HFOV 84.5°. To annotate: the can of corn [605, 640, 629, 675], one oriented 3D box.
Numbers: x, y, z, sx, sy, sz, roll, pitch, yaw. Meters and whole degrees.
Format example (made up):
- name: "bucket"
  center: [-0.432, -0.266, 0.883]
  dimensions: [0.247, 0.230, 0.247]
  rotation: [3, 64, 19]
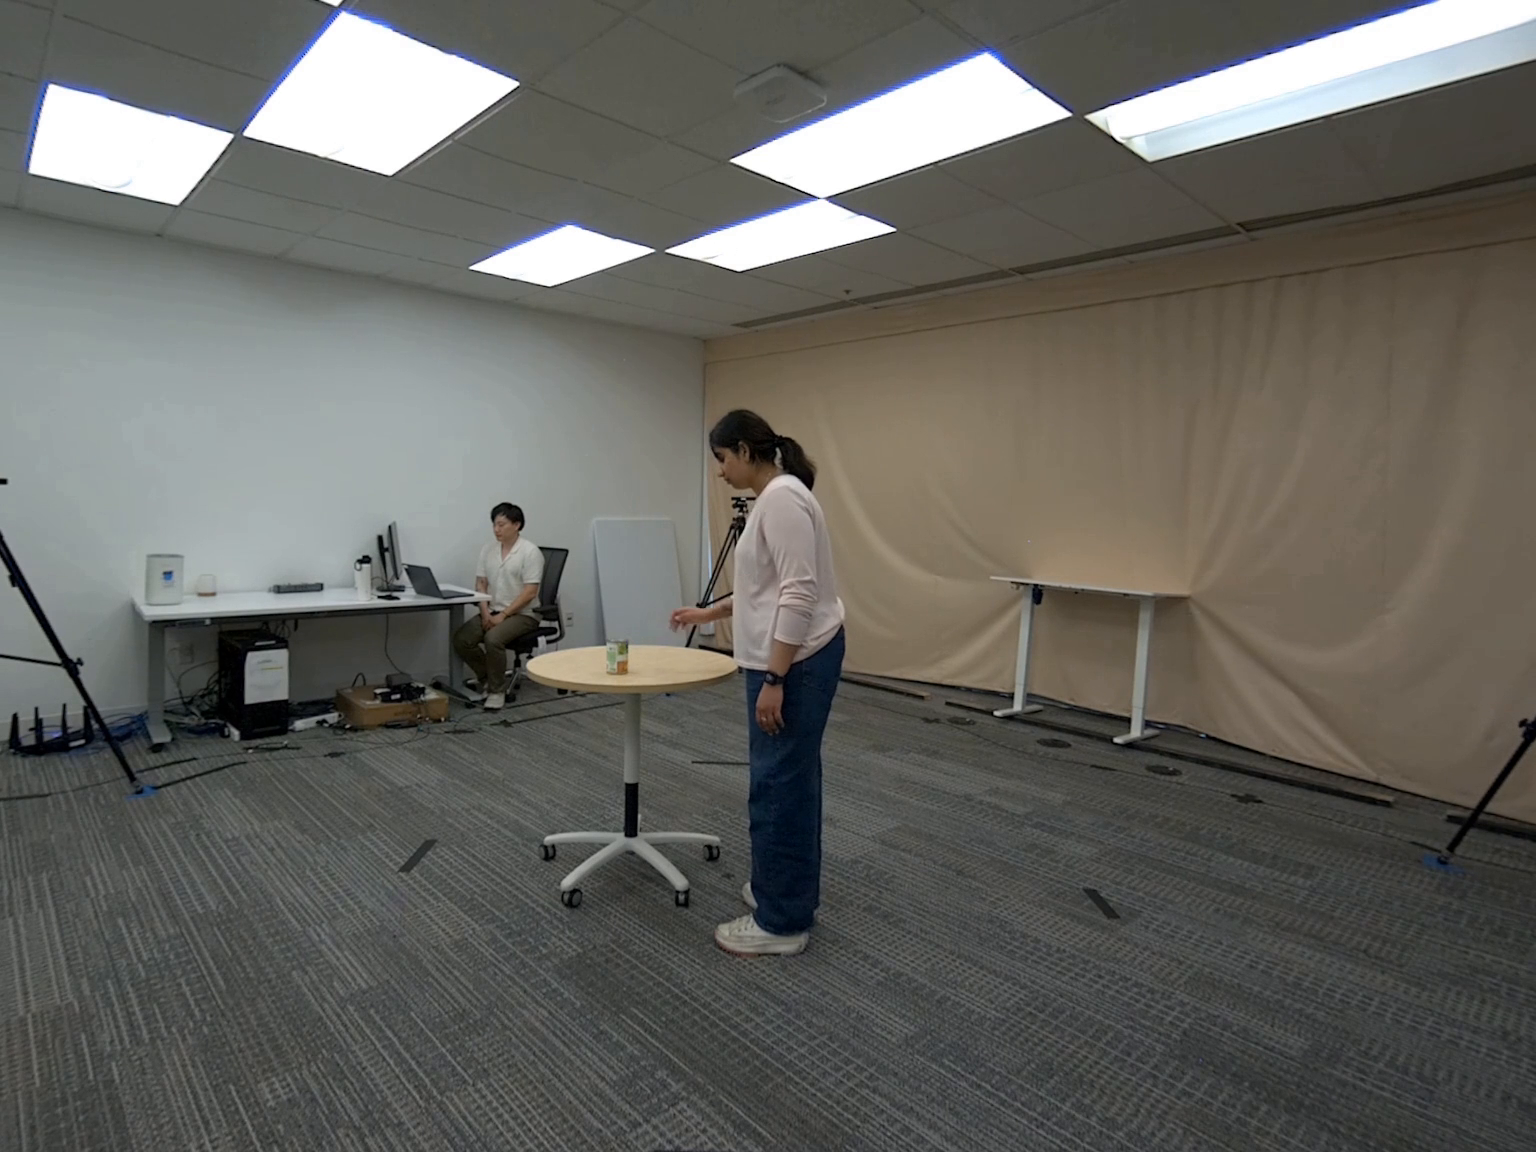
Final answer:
- name: "can of corn"
  center: [-0.515, 0.278, 2.891]
  dimensions: [0.074, 0.111, 0.074]
  rotation: [0, 3, -1]
